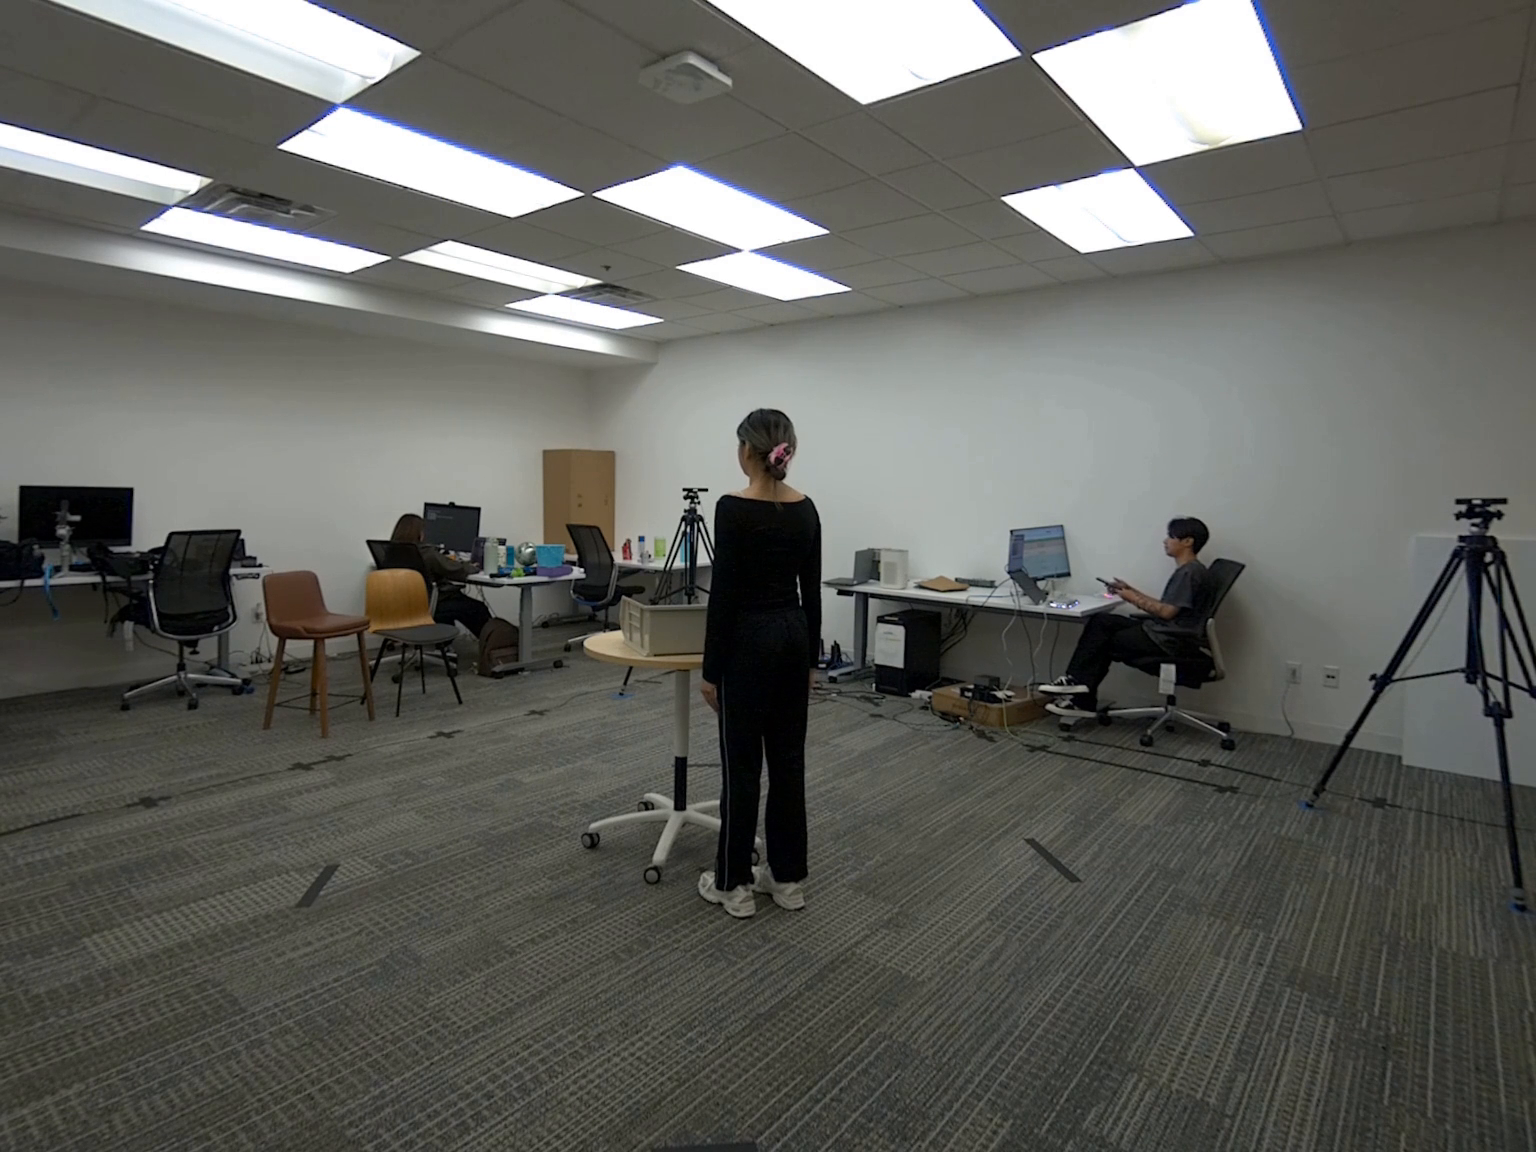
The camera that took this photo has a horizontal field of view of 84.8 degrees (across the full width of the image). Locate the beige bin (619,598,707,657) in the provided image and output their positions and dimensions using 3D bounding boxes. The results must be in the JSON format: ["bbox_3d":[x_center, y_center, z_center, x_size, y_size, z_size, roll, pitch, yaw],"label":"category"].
[{"bbox_3d":[-0.322,0.176,3.204,0.413,0.188,0.387,0,5,-22],"label":"beige bin"}]
